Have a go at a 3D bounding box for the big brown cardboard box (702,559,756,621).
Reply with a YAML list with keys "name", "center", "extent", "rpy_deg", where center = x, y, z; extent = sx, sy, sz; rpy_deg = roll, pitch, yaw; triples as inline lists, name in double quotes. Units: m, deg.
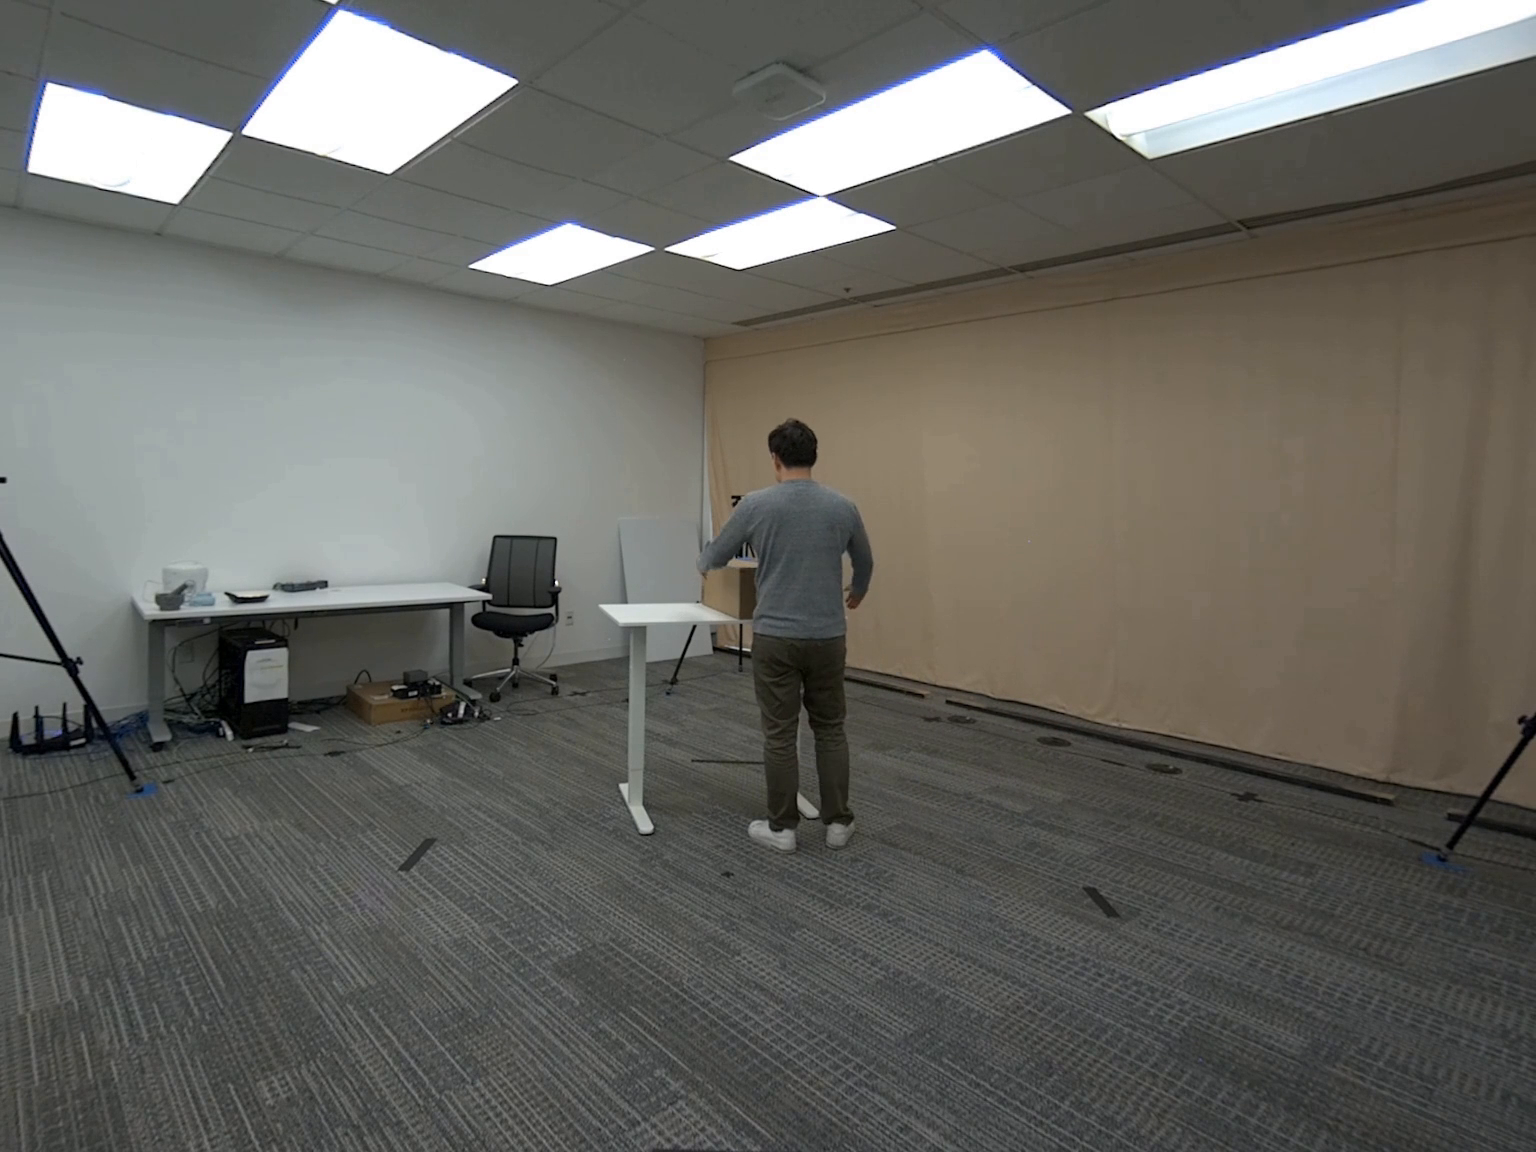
- name: "big brown cardboard box"
  center: [-0.032, 0.050, 3.836]
  extent: [0.411, 0.232, 0.600]
  rpy_deg: [-1, 5, -21]
